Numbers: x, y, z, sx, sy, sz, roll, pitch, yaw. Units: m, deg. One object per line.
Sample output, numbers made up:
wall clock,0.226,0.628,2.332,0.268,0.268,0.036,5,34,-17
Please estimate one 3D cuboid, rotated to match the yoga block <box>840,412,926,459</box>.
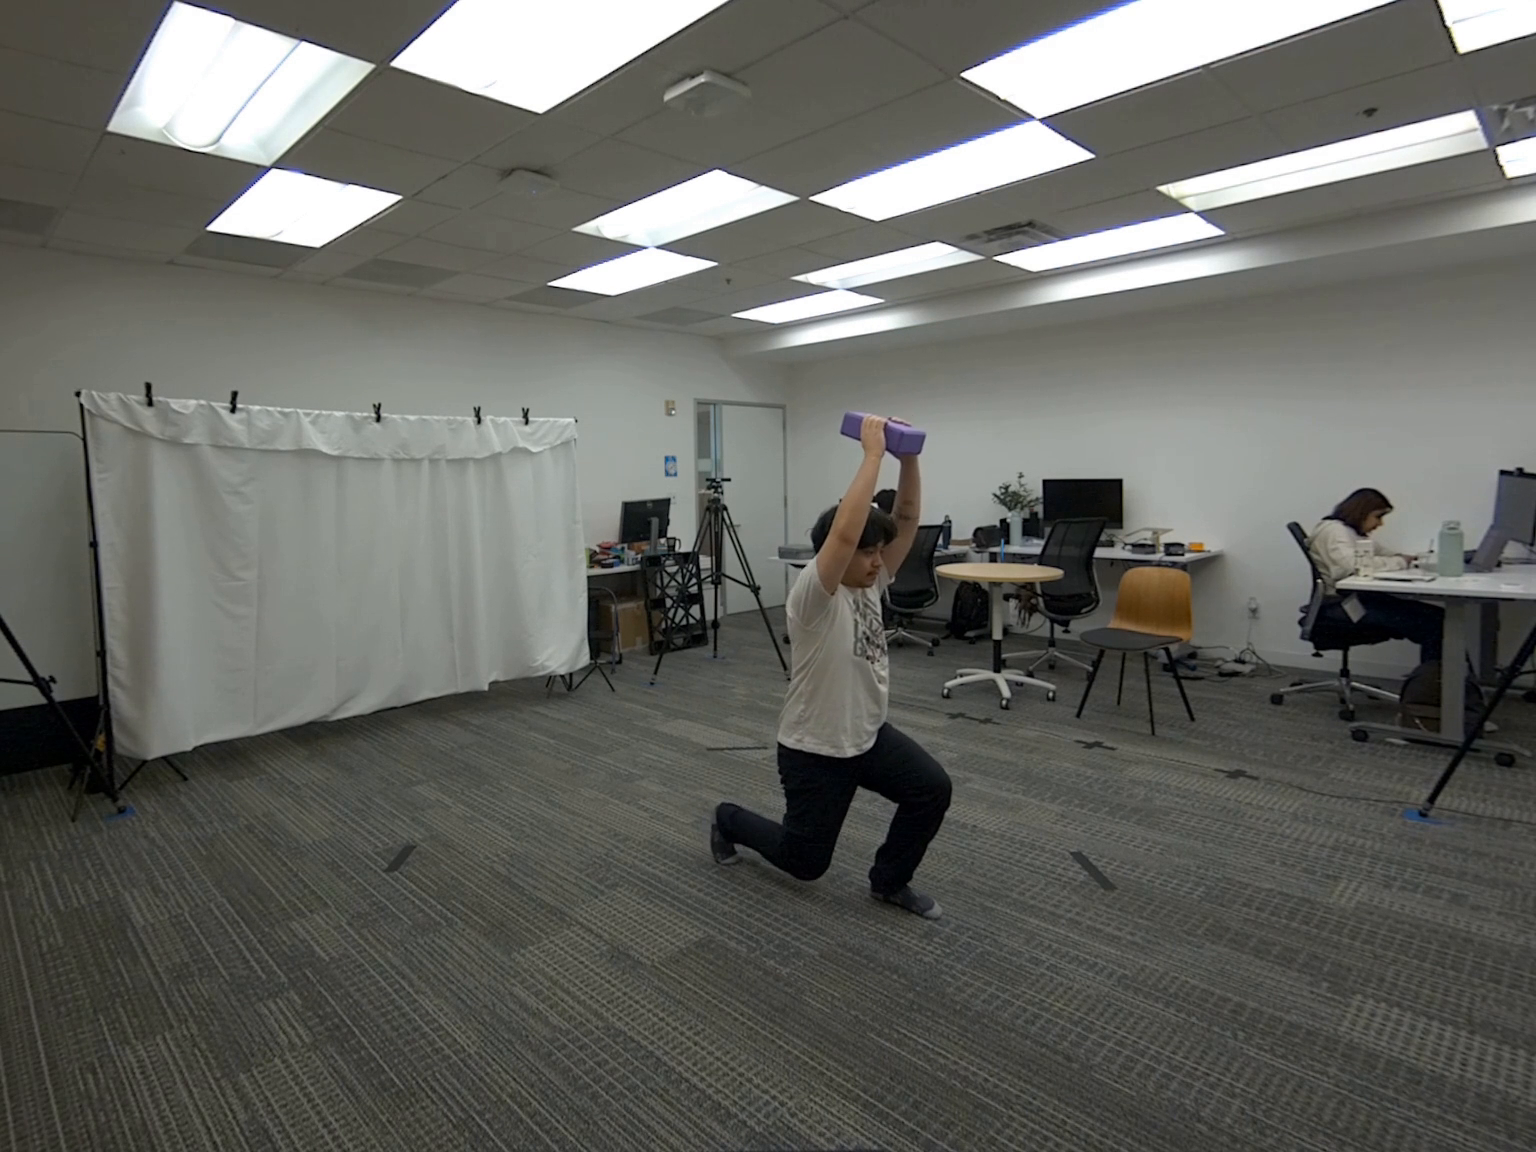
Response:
yoga block,0.362,-0.453,2.693,0.238,0.075,0.145,26,21,38
